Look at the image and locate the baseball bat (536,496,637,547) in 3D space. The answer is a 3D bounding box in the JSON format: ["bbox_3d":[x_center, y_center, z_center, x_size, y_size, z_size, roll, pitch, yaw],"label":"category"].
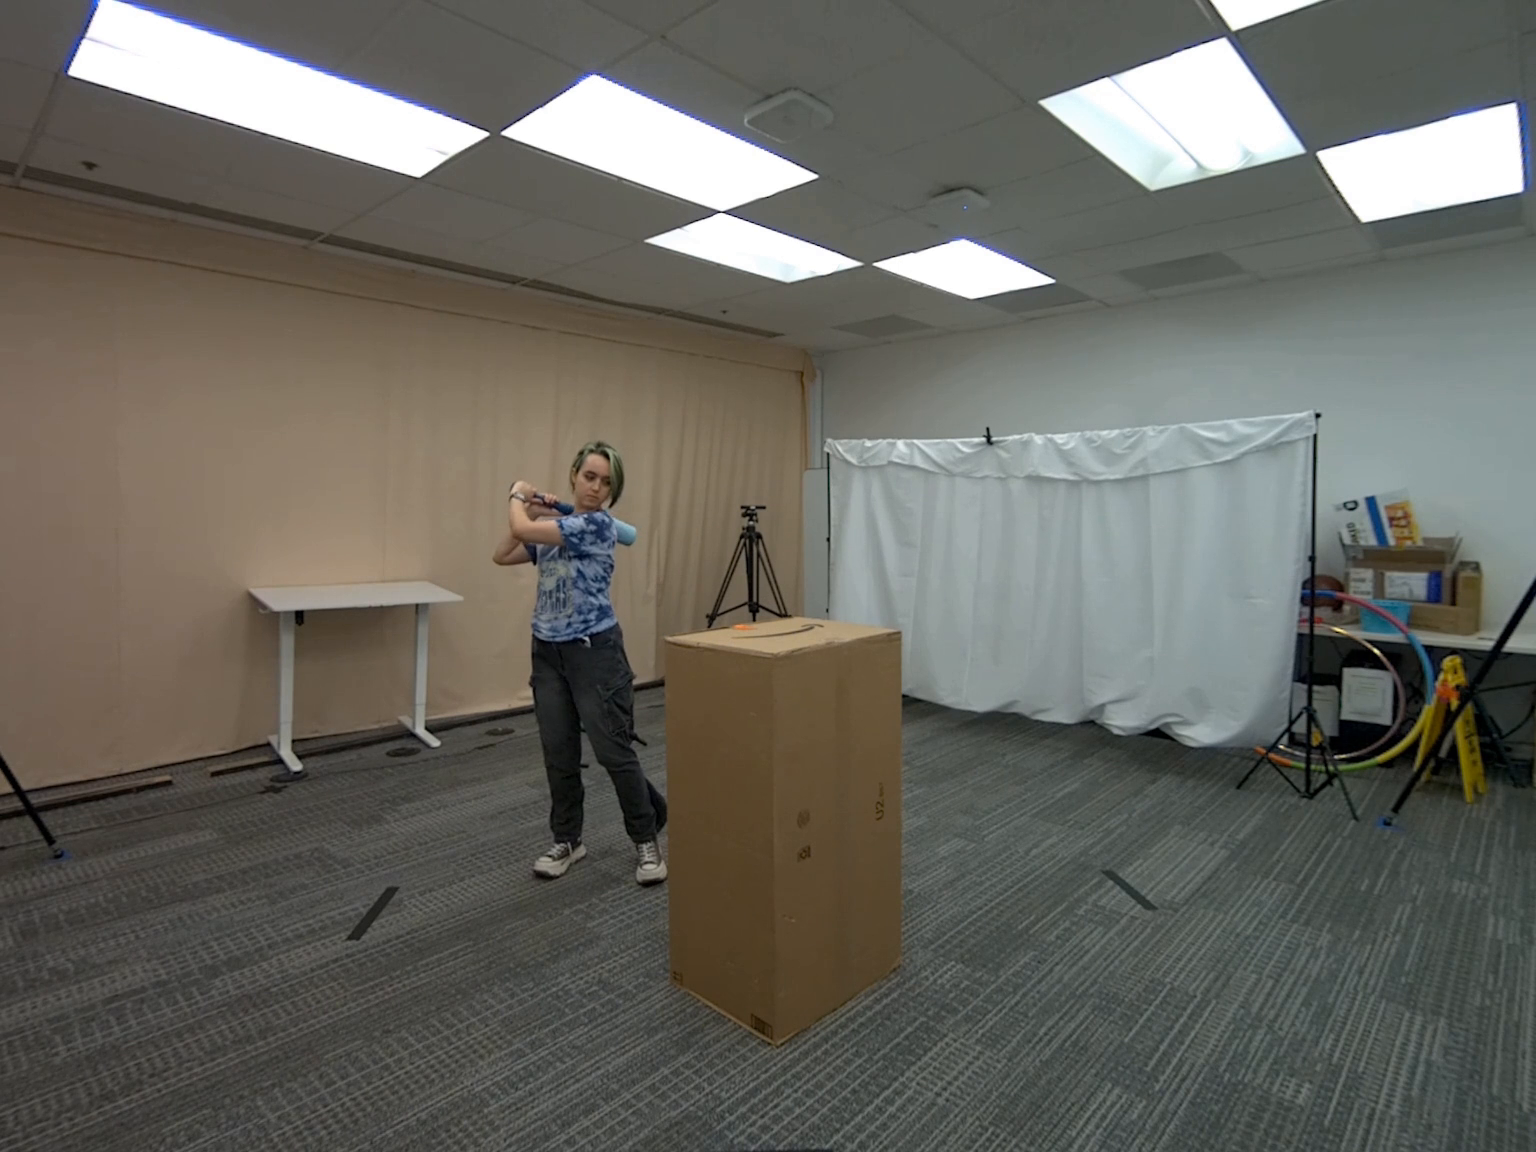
[{"bbox_3d":[-0.783,-0.257,3.366,0.527,0.089,0.091,23,-8,-26],"label":"baseball bat"}]
